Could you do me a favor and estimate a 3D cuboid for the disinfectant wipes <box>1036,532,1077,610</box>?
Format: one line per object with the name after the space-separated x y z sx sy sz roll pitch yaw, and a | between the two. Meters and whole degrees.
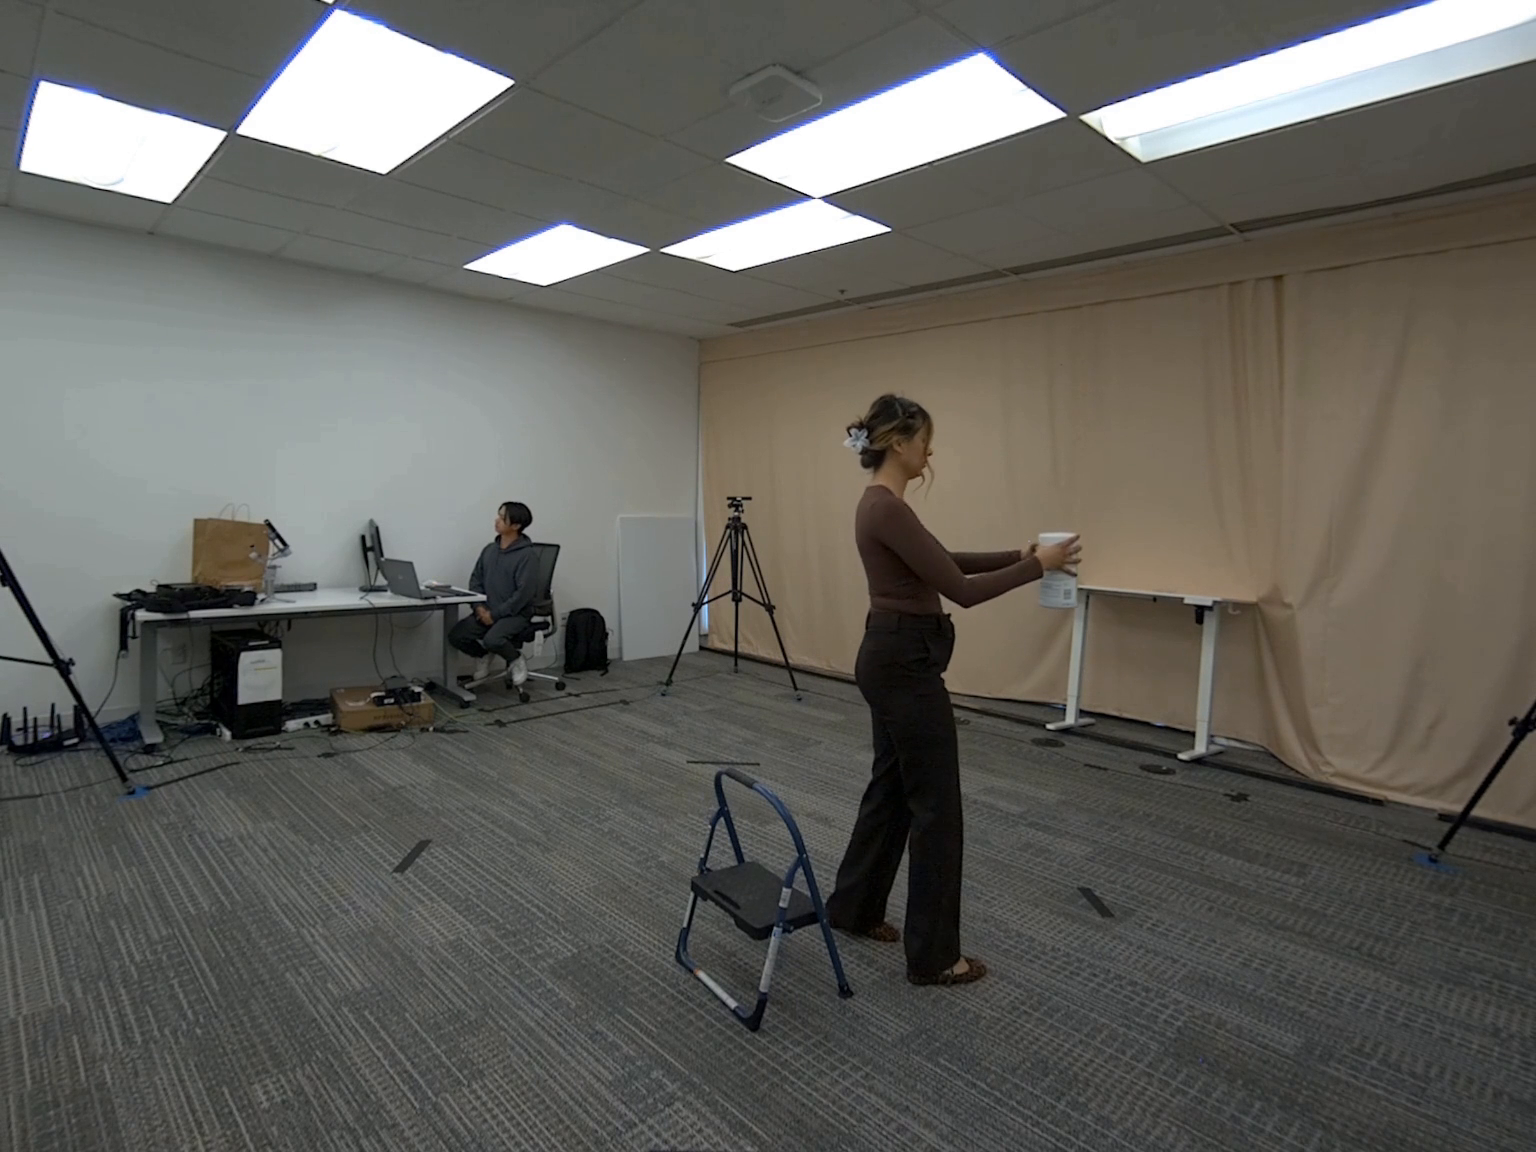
0.829 -0.023 2.486 0.118 0.216 0.118 -2 9 -1 | disinfectant wipes
